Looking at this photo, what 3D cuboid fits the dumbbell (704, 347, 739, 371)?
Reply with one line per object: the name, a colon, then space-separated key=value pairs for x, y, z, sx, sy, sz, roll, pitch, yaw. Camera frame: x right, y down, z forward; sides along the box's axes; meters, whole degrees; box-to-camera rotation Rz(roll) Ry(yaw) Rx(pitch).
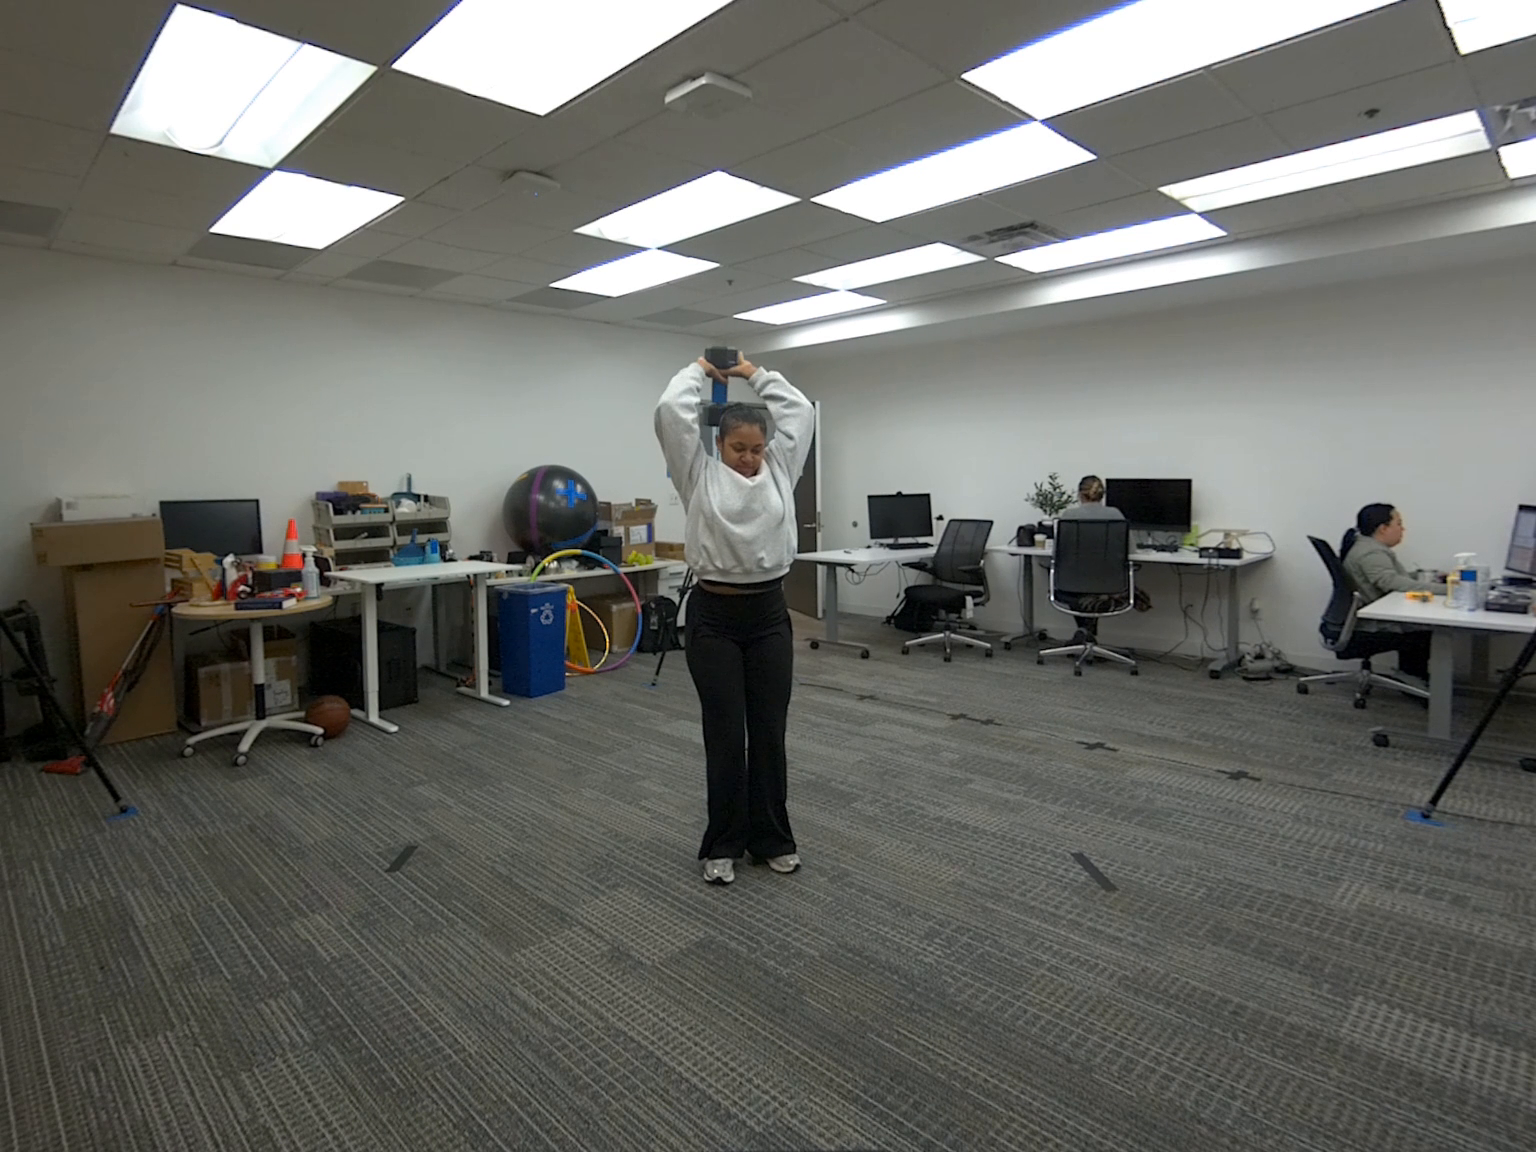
dumbbell: x=-0.168 y=-0.698 z=3.160 sx=0.112 sy=0.290 sz=0.120 roll=13 pitch=16 yaw=34
